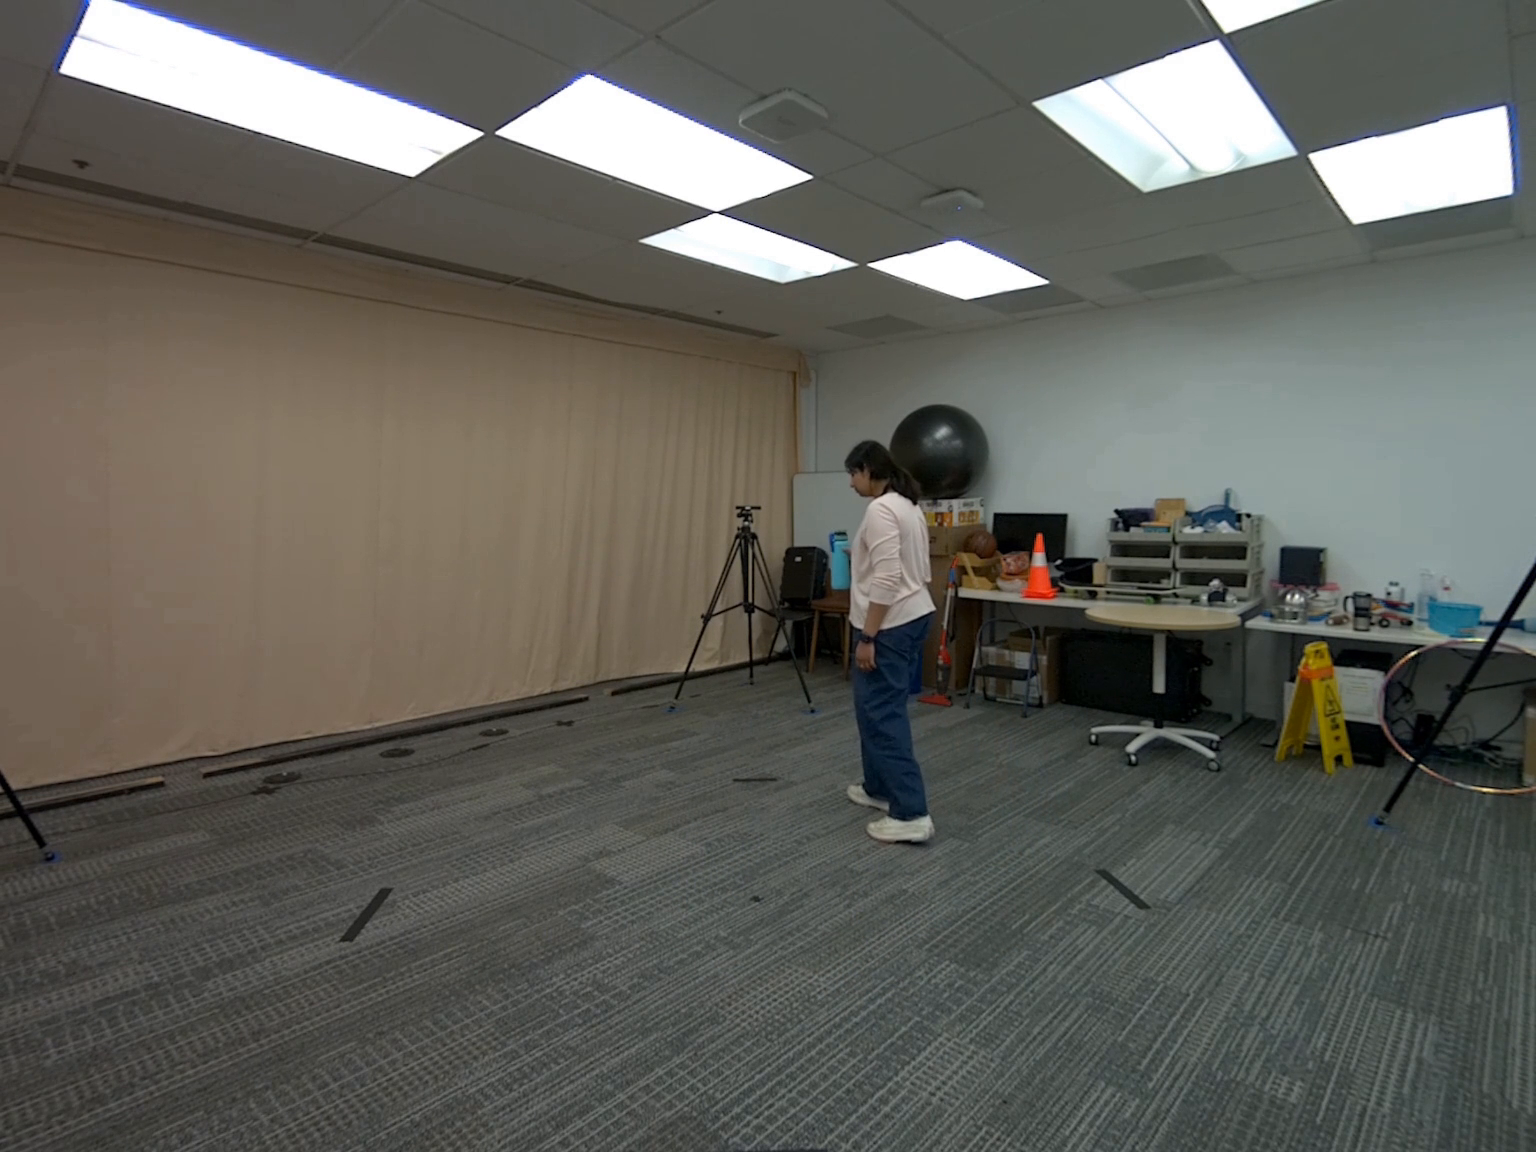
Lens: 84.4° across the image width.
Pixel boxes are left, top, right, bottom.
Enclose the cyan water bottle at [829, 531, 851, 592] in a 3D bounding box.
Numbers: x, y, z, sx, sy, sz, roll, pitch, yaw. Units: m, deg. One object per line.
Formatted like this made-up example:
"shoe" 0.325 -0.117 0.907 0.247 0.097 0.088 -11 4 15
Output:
"cyan water bottle" 0.348 -0.082 4.020 0.092 0.282 0.093 -3 5 -2
